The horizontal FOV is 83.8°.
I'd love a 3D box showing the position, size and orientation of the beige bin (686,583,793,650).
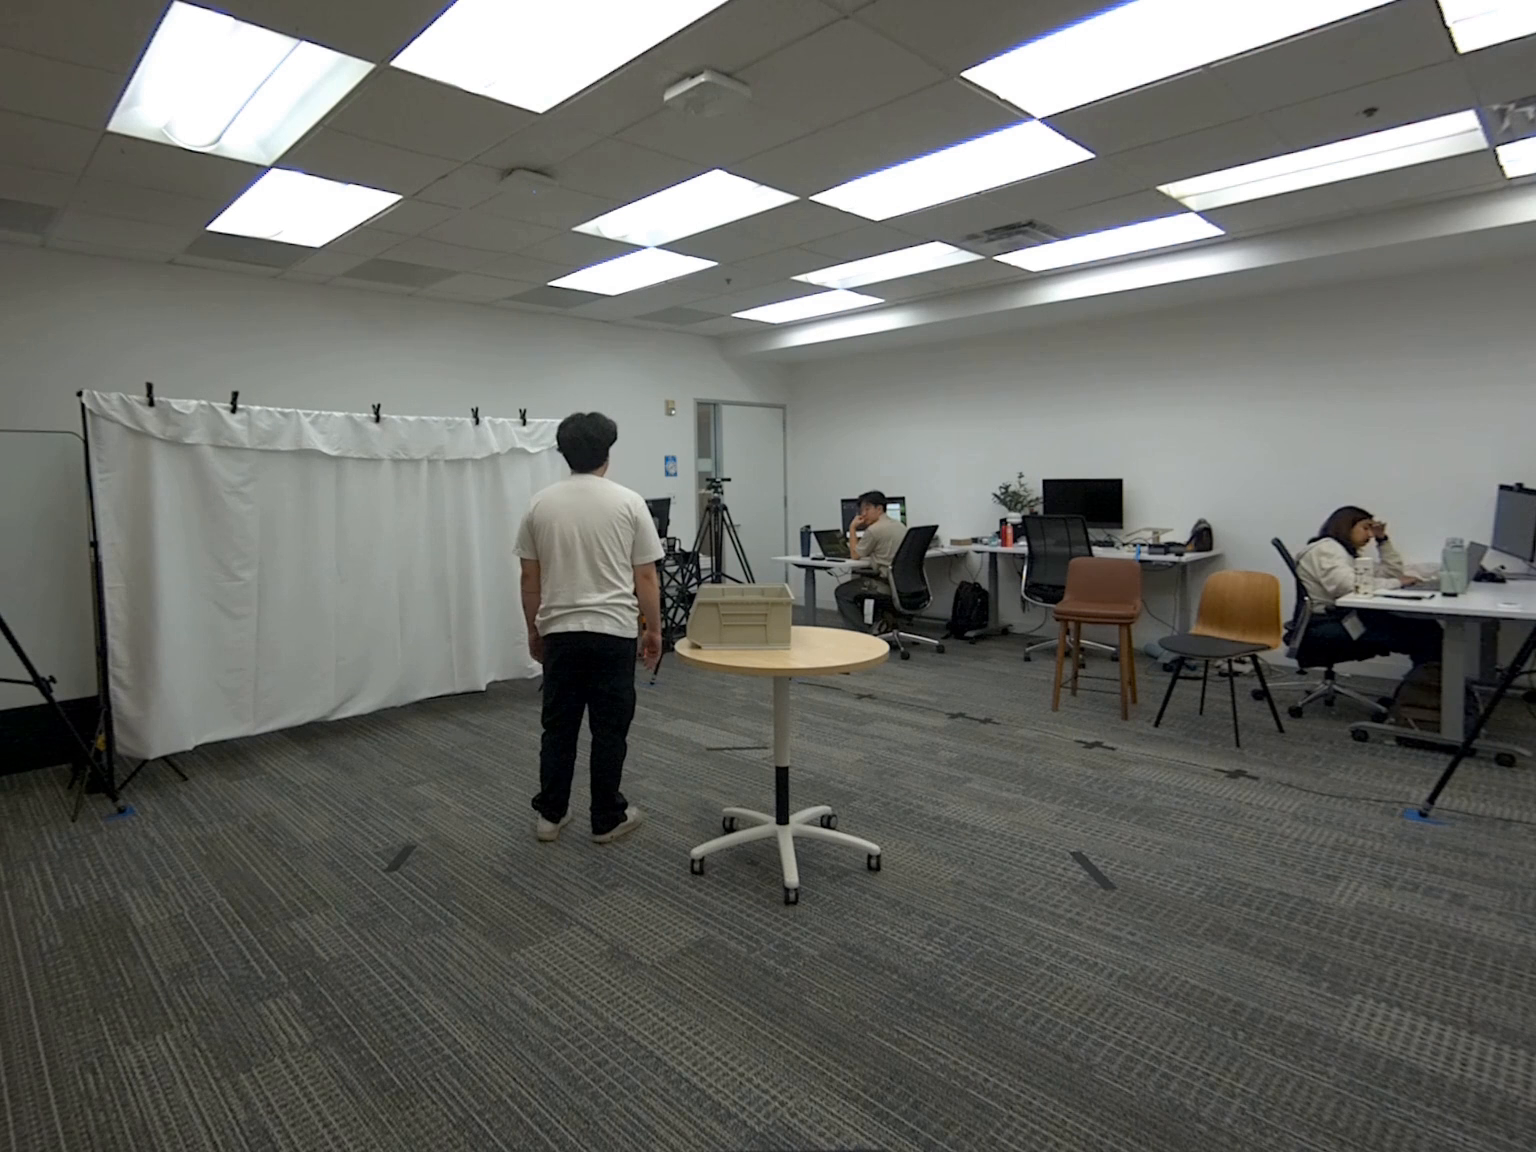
[{"bbox_3d":[-0.106,0.142,3.179,0.377,0.188,0.424,0,5,-1],"label":"beige bin"}]
